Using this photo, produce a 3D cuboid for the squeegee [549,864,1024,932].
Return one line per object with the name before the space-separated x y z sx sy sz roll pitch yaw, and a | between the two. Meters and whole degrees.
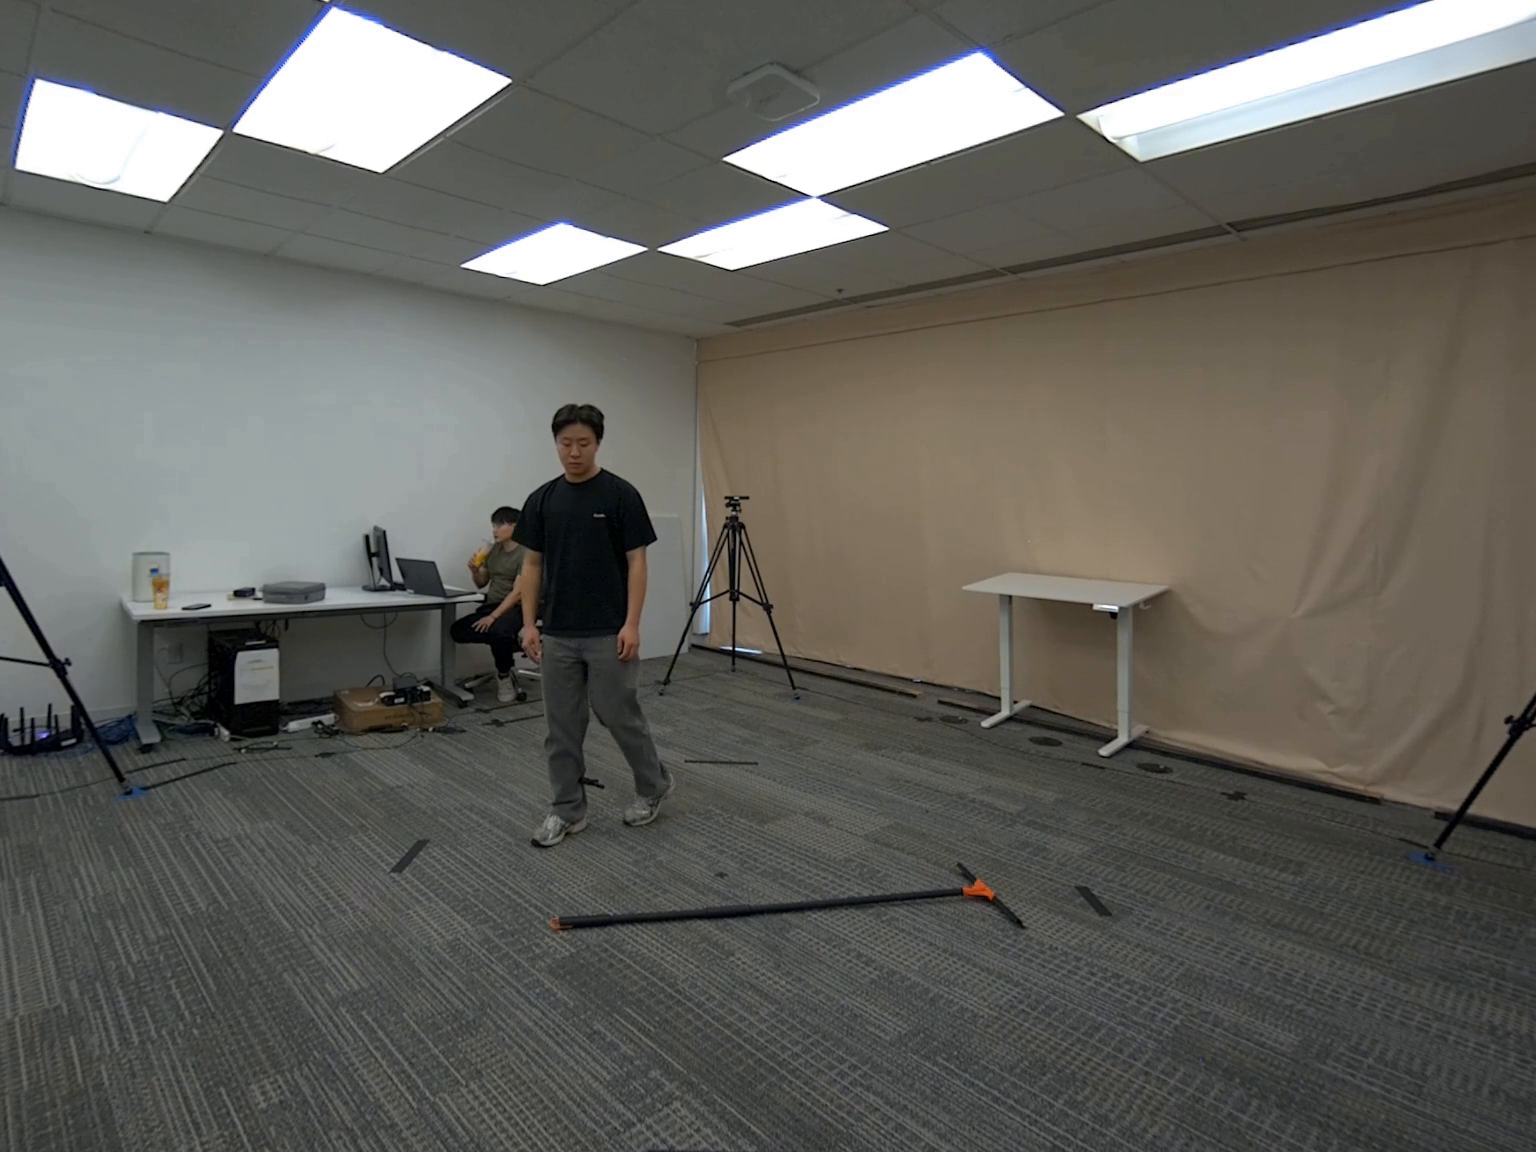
squeegee | 0.042 1.091 2.832 1.523 0.053 0.443 0 5 -12
